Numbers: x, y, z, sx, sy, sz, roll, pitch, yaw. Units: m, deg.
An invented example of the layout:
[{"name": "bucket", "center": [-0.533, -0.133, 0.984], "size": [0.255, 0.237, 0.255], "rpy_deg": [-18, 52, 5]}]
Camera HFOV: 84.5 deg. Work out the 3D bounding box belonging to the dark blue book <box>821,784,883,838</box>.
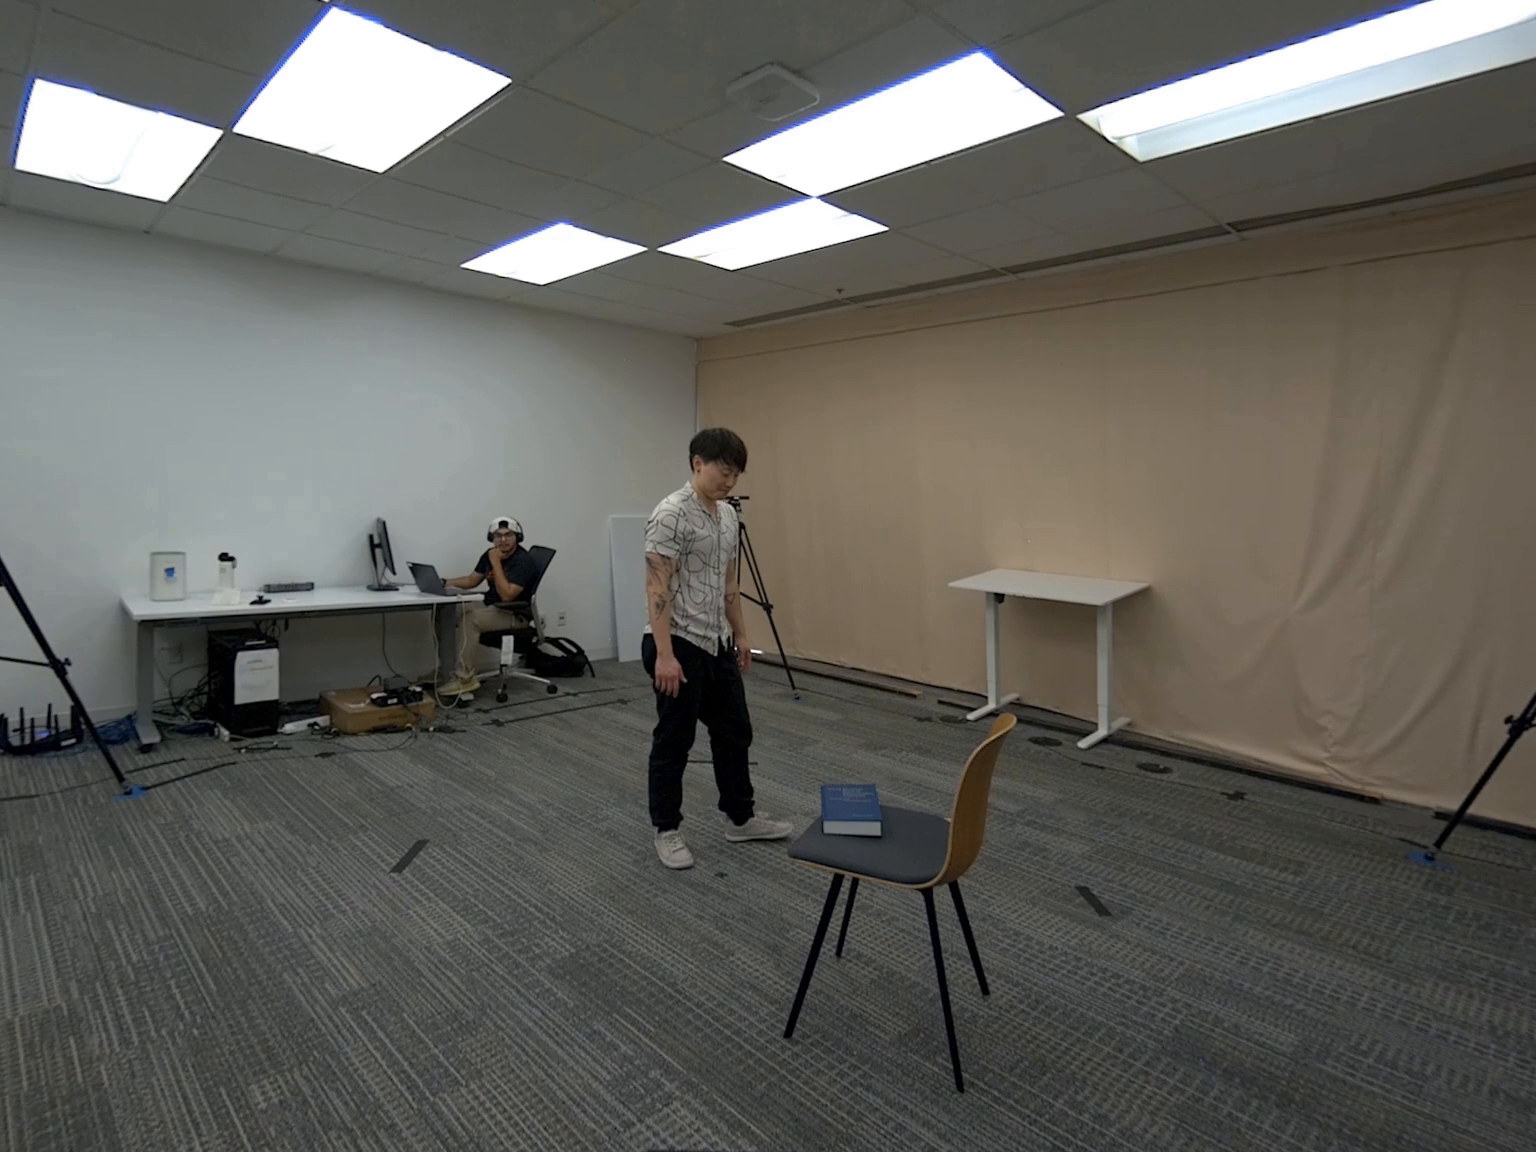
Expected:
[{"name": "dark blue book", "center": [0.233, 0.668, 2.407], "size": [0.164, 0.045, 0.246], "rpy_deg": [-1, 8, 3]}]
